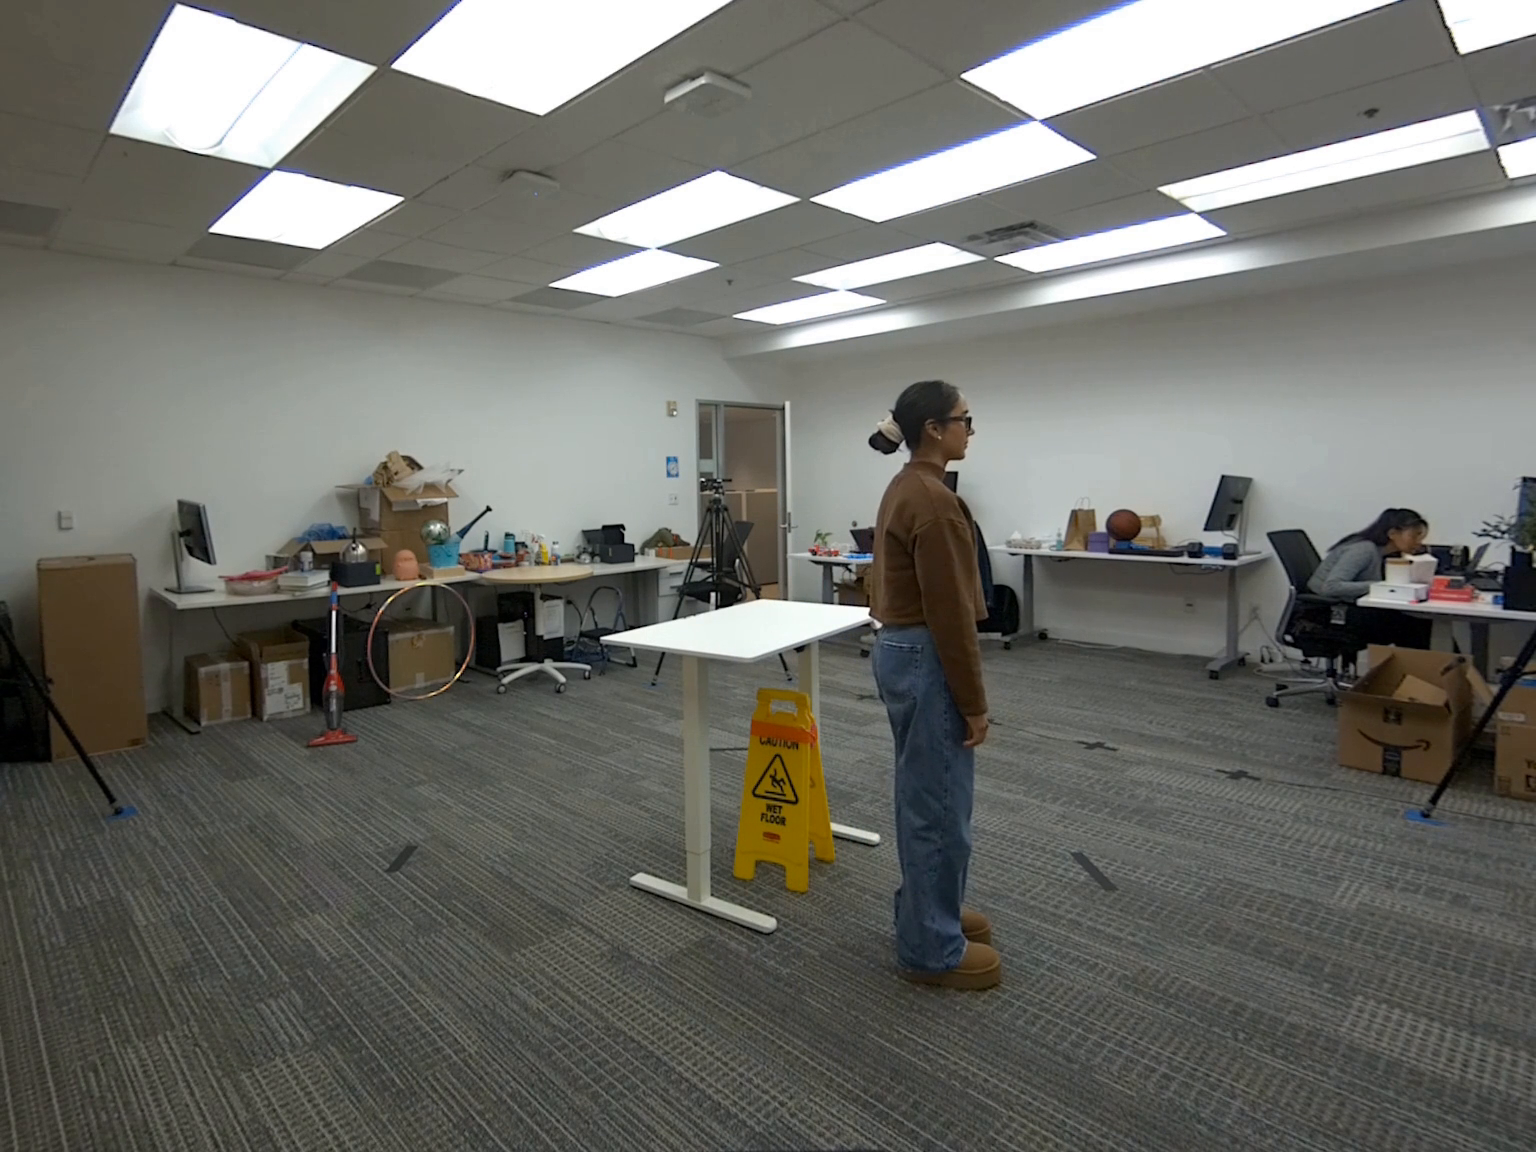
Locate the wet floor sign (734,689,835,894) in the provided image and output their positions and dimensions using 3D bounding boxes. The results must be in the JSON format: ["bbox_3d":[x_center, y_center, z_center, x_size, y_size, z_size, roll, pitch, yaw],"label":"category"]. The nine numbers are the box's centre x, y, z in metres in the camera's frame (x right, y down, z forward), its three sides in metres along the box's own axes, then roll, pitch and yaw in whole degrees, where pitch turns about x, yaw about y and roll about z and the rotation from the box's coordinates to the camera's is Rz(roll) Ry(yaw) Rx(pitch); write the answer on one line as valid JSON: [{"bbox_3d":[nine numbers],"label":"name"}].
[{"bbox_3d":[0.062,0.726,3.041,0.289,0.644,0.283,2,4,27],"label":"wet floor sign"}]
